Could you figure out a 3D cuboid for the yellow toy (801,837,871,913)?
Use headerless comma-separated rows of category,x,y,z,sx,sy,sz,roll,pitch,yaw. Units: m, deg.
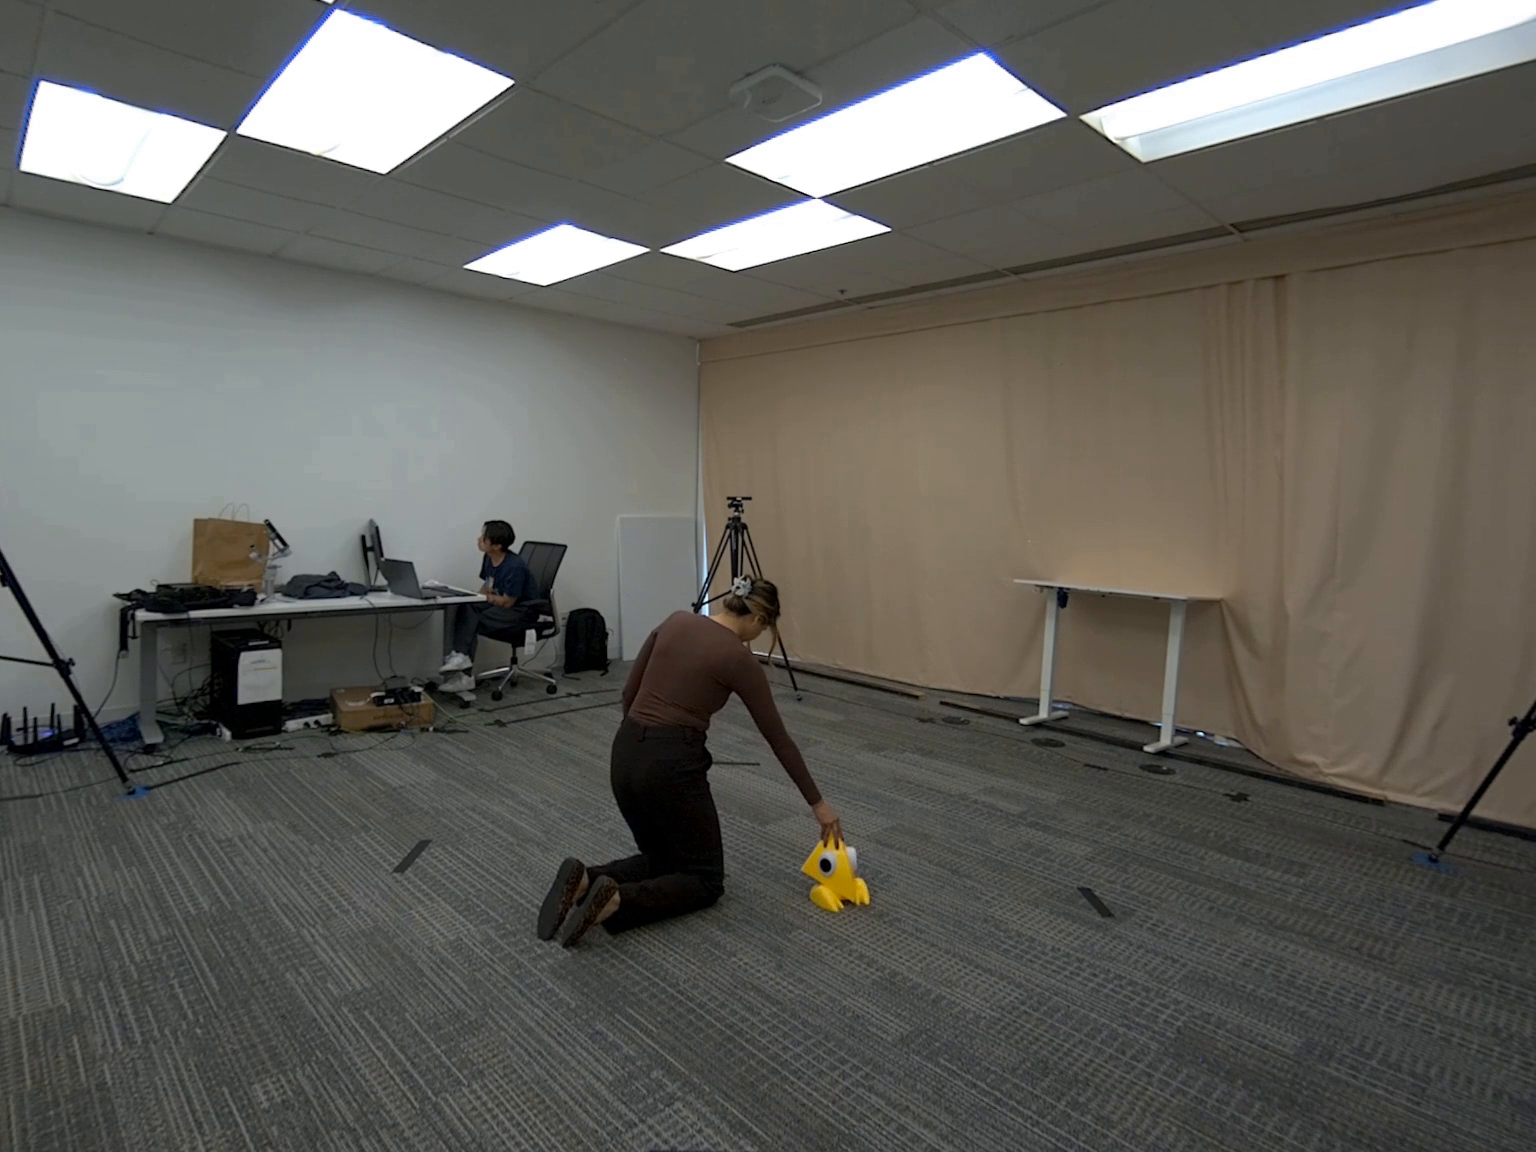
yellow toy,0.238,1.014,2.946,0.201,0.230,0.197,0,4,-27
